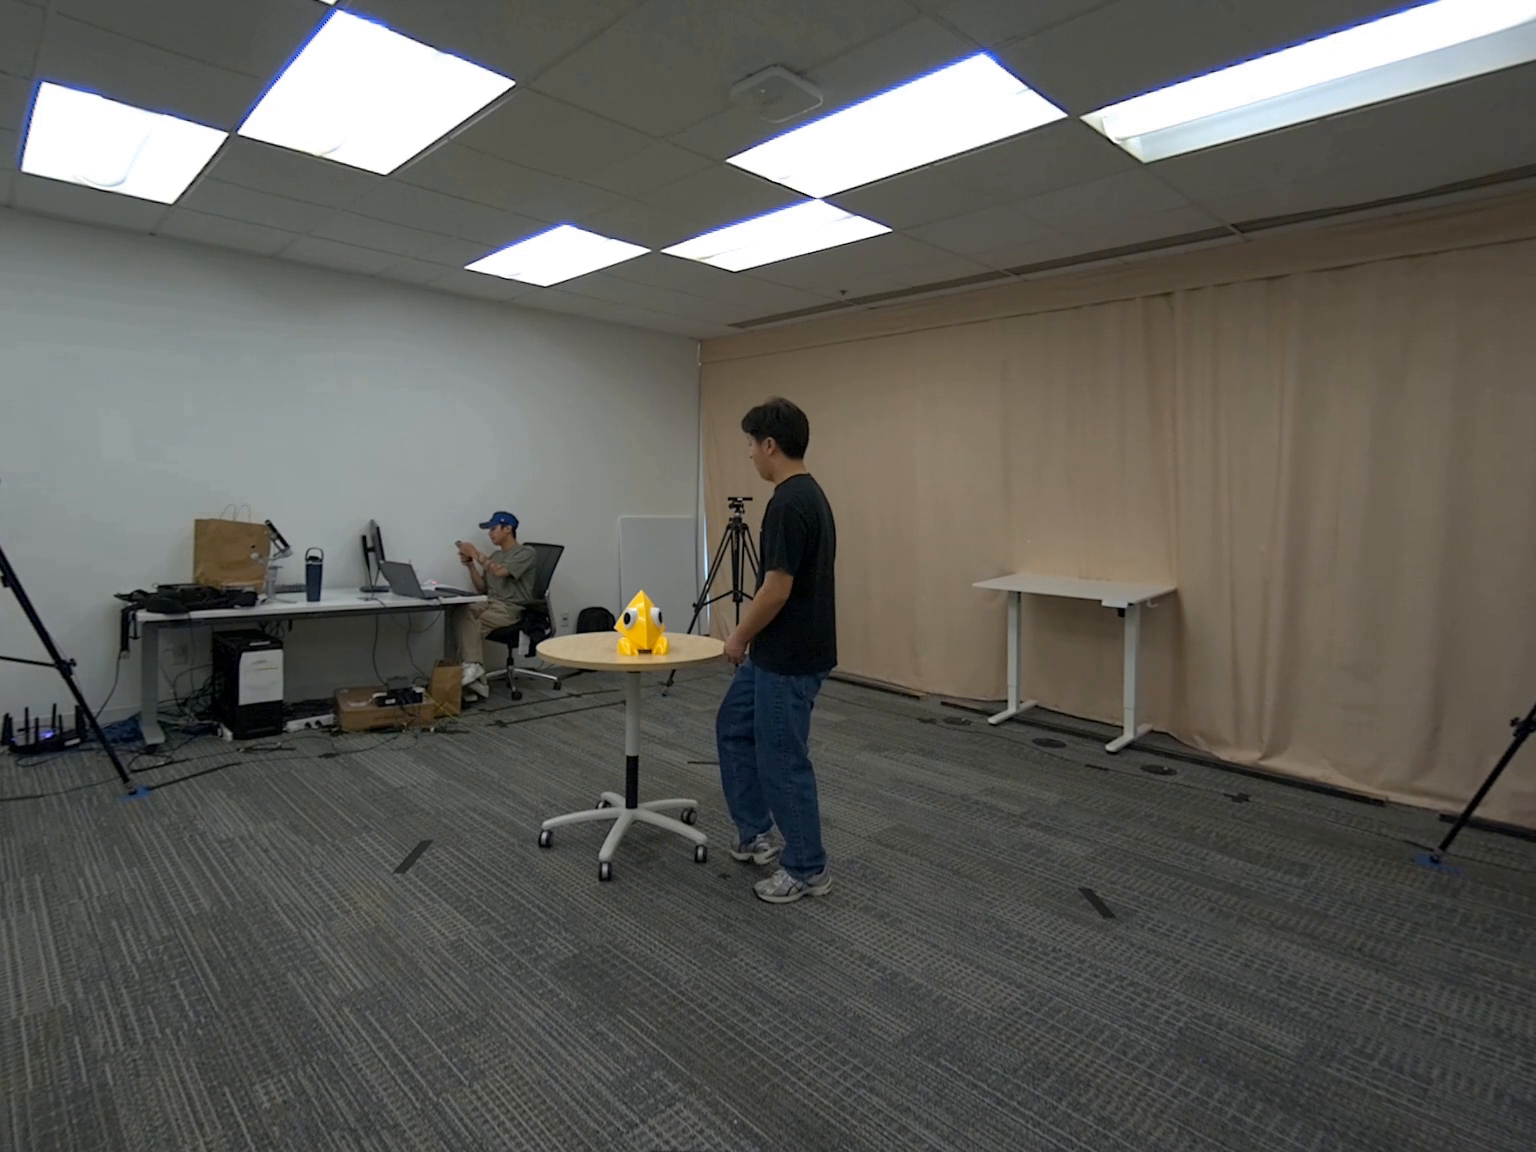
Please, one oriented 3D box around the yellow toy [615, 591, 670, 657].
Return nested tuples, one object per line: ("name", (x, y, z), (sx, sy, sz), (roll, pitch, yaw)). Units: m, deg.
("yellow toy", (-0.484, 0.177, 3.235), (0.202, 0.230, 0.196), (0, 4, -16))
